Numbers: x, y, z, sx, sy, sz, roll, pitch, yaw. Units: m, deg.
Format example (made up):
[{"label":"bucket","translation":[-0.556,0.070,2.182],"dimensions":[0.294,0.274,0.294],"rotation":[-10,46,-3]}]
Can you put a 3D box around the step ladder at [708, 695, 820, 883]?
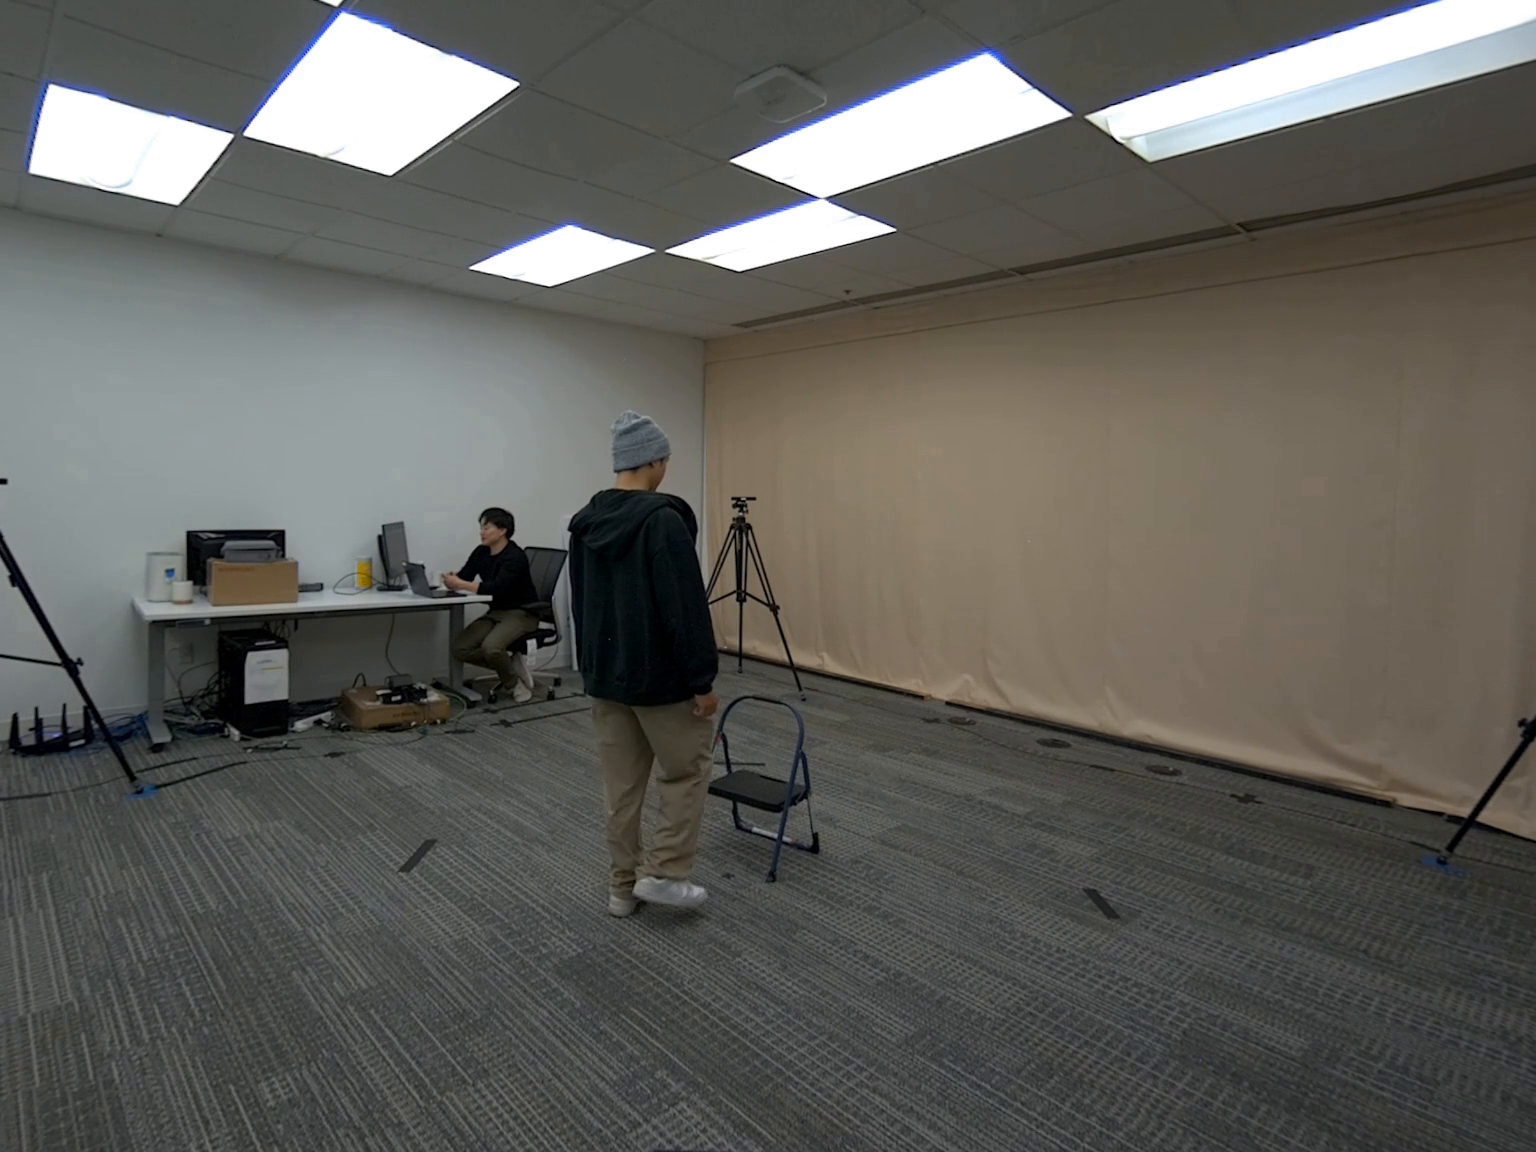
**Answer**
[{"label":"step ladder","translation":[-0.056,0.787,3.304],"dimensions":[0.441,0.604,0.342],"rotation":[4,4,36]}]
